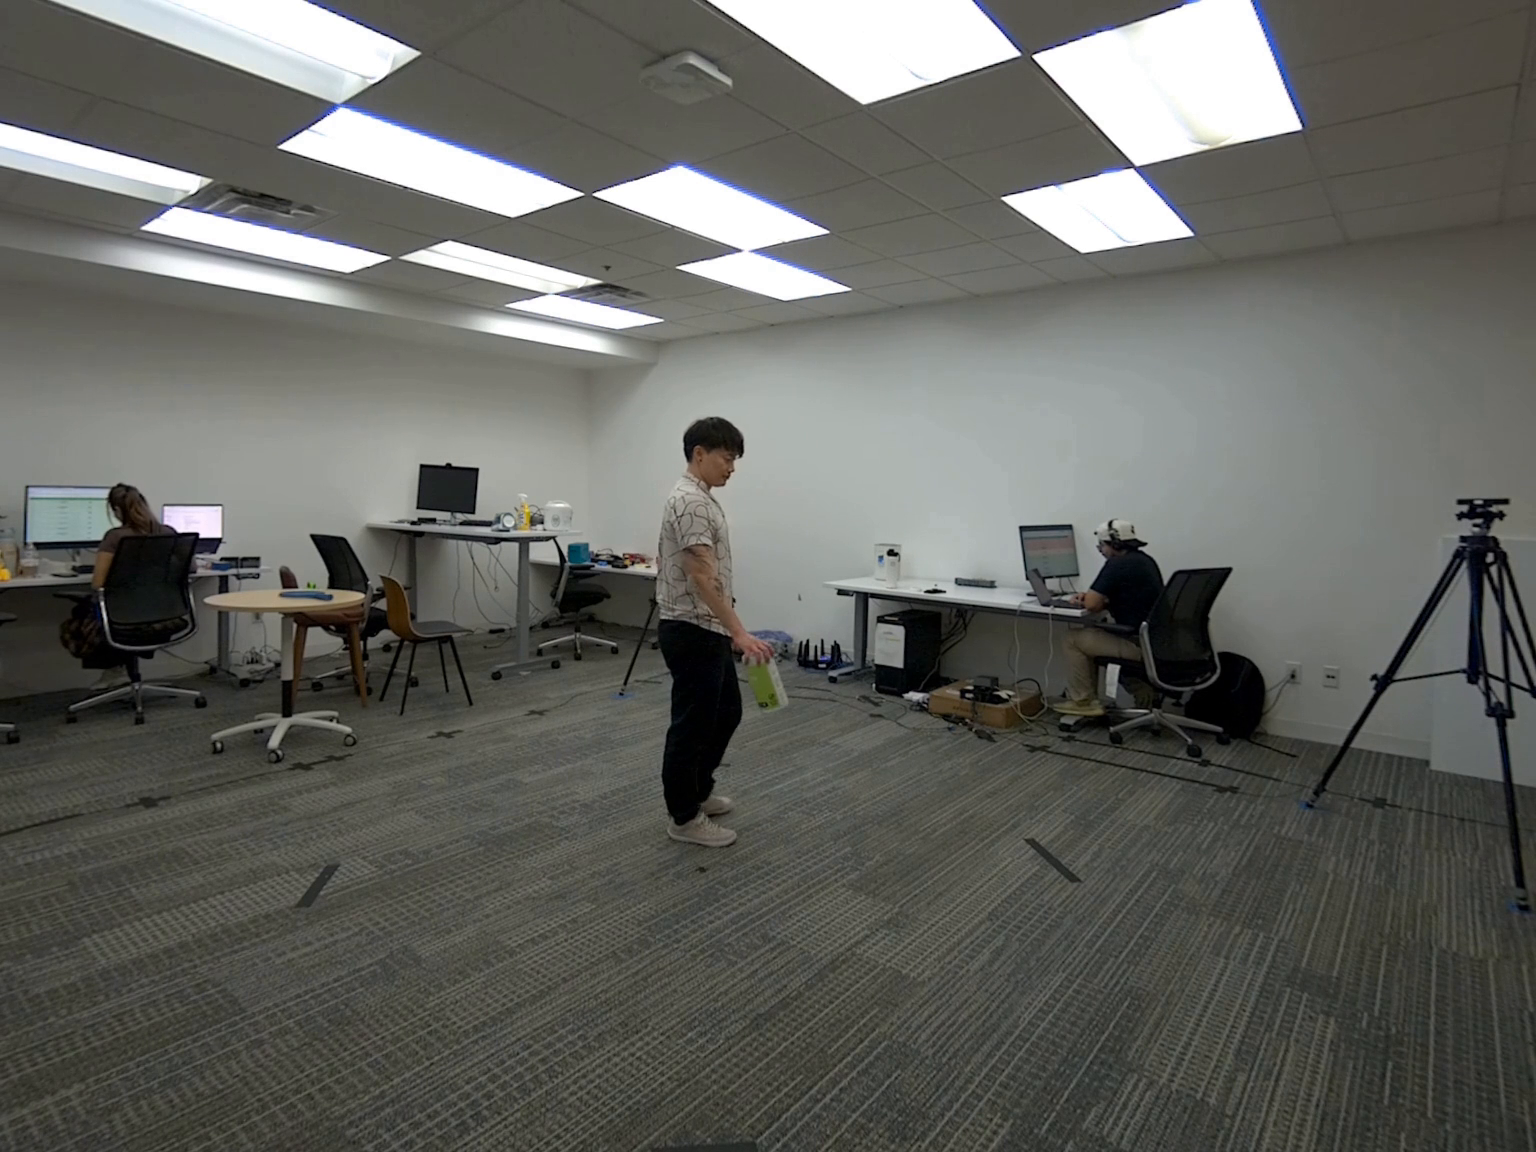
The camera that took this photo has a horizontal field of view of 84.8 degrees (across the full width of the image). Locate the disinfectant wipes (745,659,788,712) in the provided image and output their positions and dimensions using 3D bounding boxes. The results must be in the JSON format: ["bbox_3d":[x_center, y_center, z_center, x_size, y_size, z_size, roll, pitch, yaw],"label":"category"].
[{"bbox_3d":[-0.034,0.375,3.042,0.118,0.215,0.119,-17,8,1],"label":"disinfectant wipes"}]
